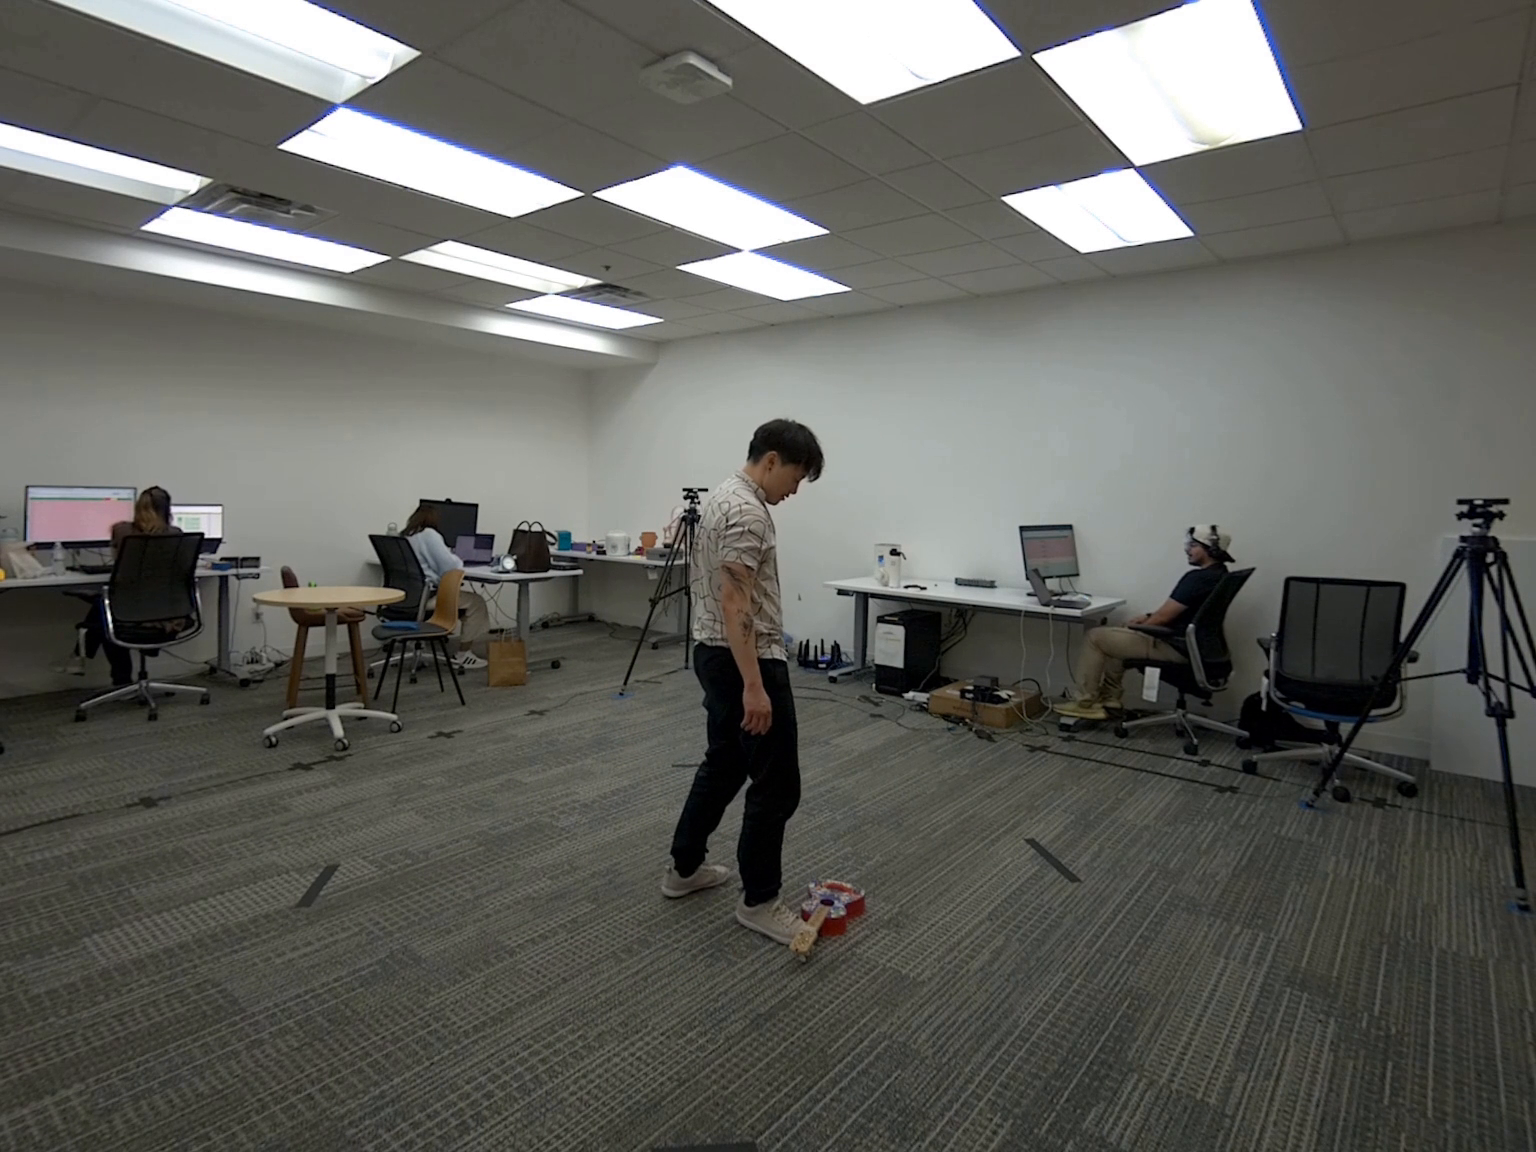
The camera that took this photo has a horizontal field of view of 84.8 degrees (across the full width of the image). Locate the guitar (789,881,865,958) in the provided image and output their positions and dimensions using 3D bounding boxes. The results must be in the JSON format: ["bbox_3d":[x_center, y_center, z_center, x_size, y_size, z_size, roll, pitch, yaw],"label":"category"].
[{"bbox_3d":[0.138,1.085,2.700,0.199,0.070,0.485,4,6,29],"label":"guitar"}]
